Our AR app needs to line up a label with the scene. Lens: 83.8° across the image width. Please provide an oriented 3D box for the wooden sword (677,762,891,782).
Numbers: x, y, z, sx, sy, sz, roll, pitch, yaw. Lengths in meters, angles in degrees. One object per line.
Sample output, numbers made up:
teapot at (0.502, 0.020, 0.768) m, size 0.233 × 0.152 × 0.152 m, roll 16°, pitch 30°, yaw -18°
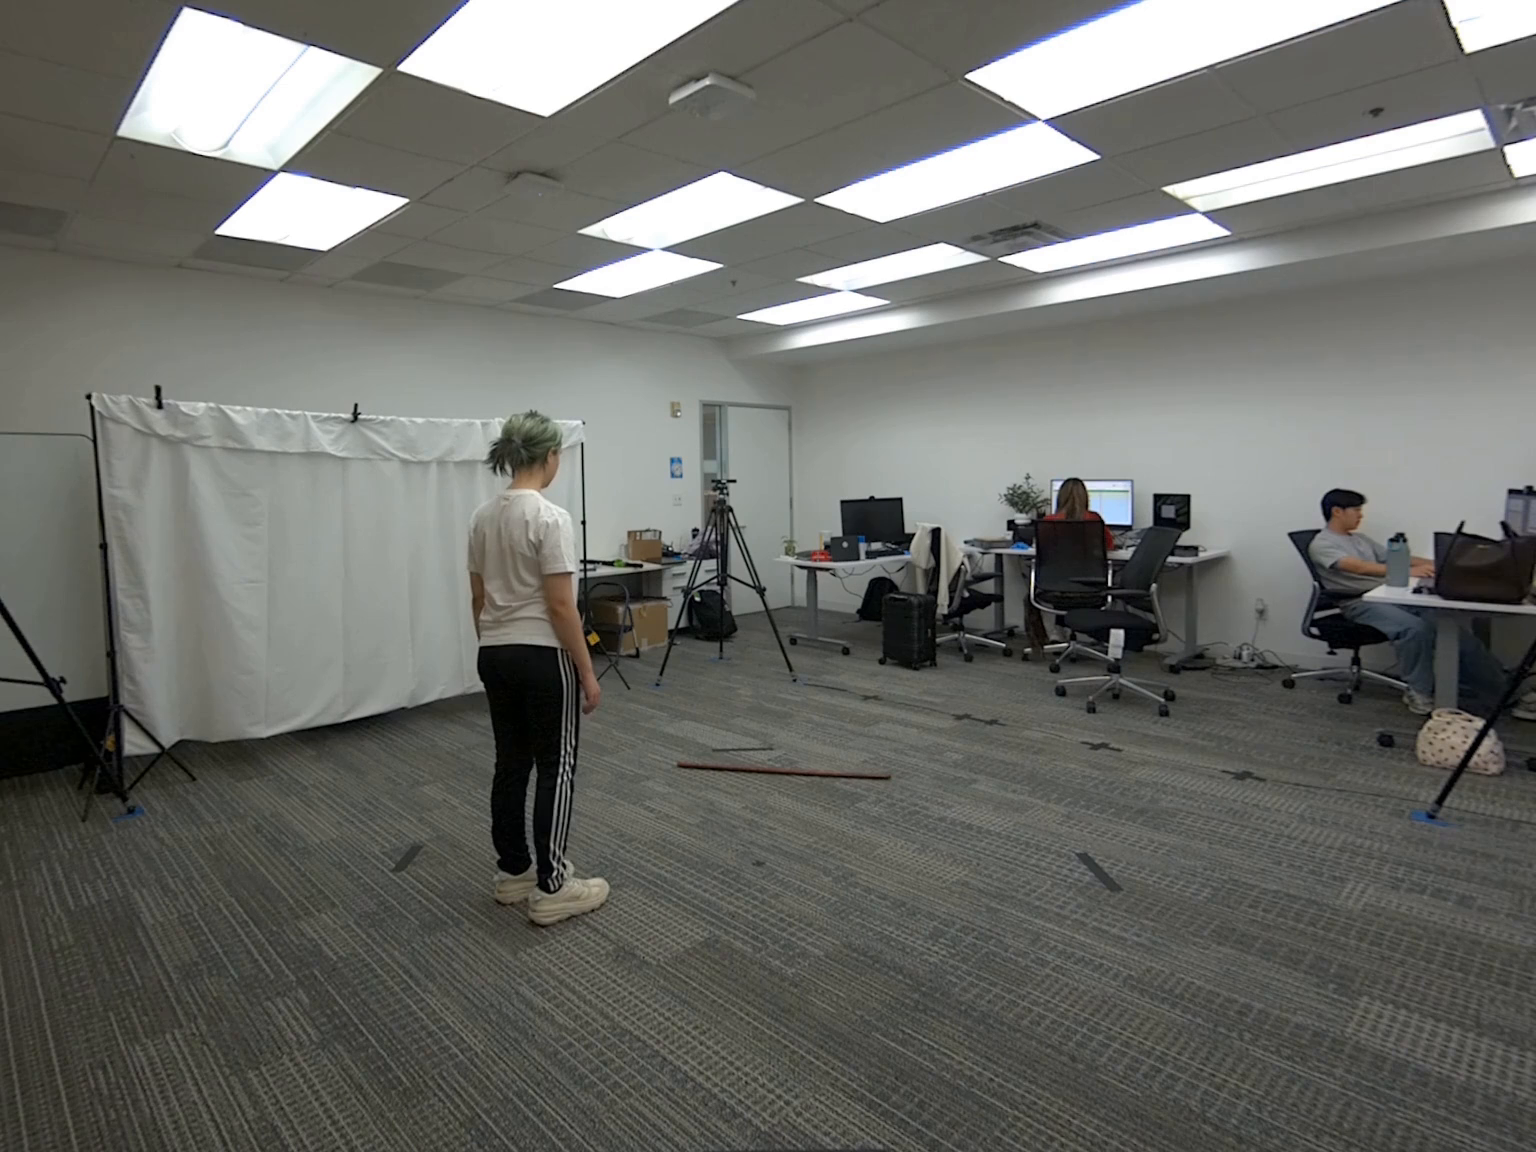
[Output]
wooden sword at (0.048, 0.914, 4.053) m, size 1.037 × 0.024 × 0.050 m, roll 1°, pitch -20°, yaw 13°
